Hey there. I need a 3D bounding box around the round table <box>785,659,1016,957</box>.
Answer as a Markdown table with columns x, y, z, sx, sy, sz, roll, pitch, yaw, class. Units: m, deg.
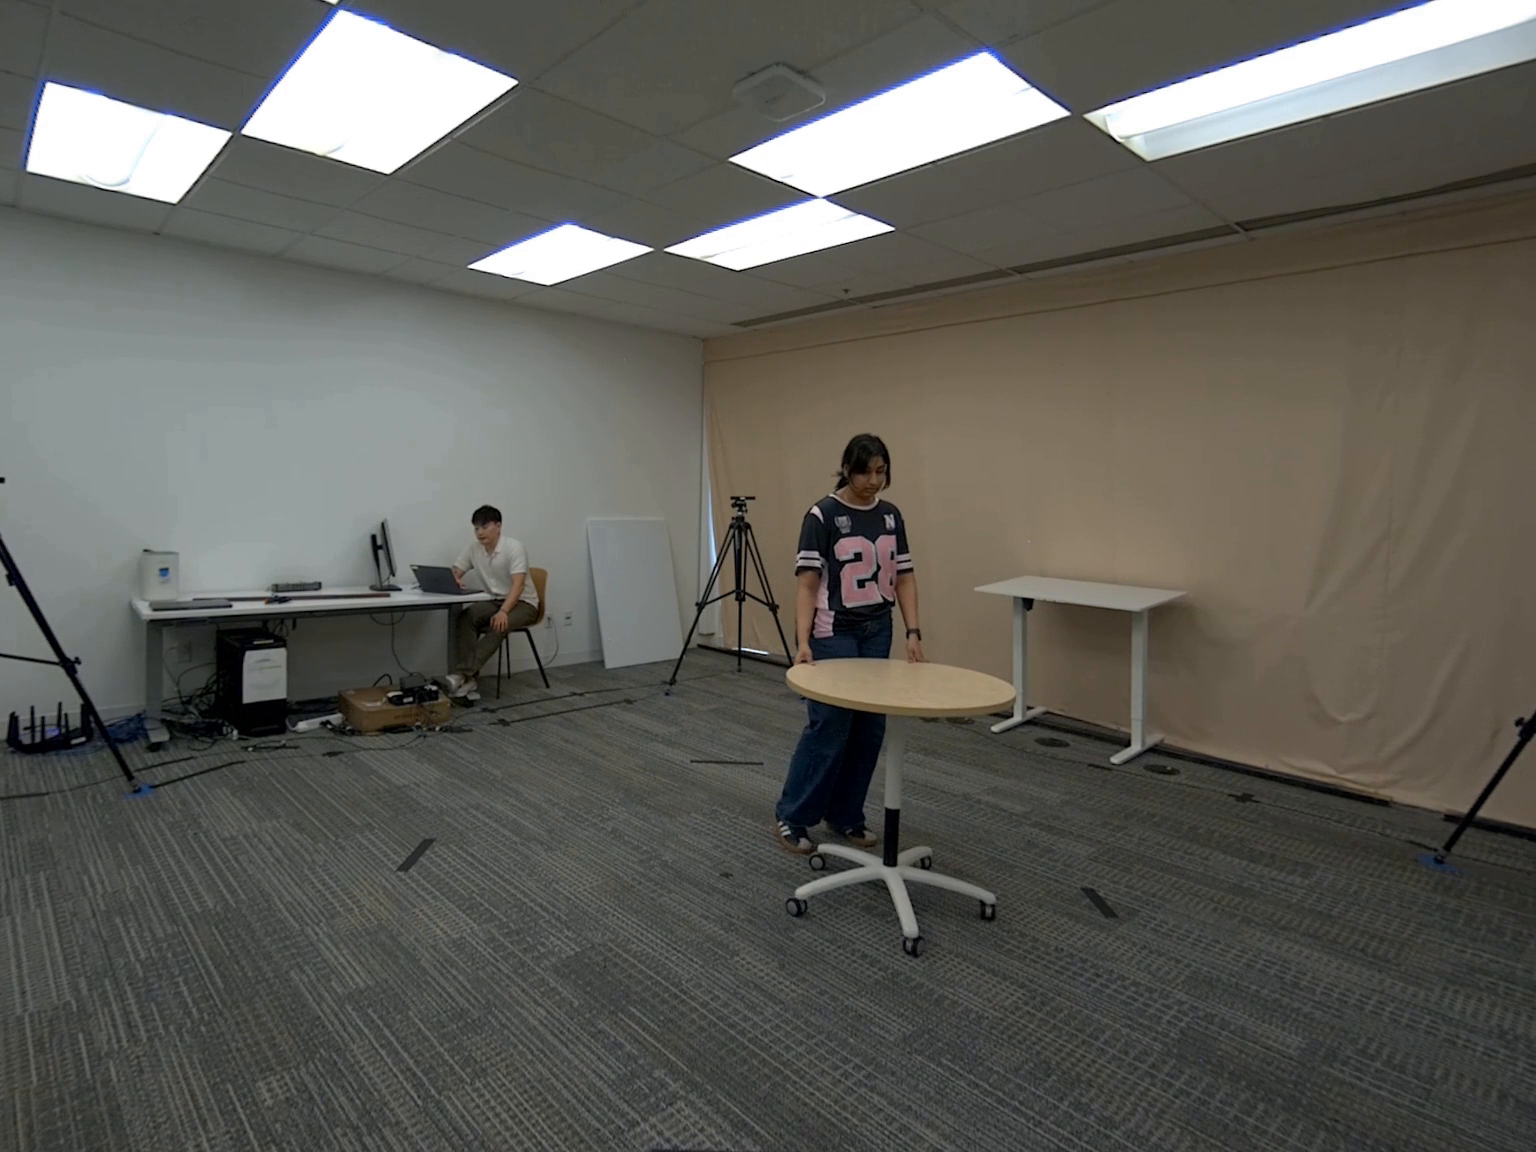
| x | y | z | sx | sy | sz | roll | pitch | yaw | class |
| --- | --- | --- | --- | --- | --- | --- | --- | --- | --- |
| 0.412 | 0.750 | 2.886 | 0.763 | 0.792 | 0.767 | 2 | 4 | -2 | round table |
